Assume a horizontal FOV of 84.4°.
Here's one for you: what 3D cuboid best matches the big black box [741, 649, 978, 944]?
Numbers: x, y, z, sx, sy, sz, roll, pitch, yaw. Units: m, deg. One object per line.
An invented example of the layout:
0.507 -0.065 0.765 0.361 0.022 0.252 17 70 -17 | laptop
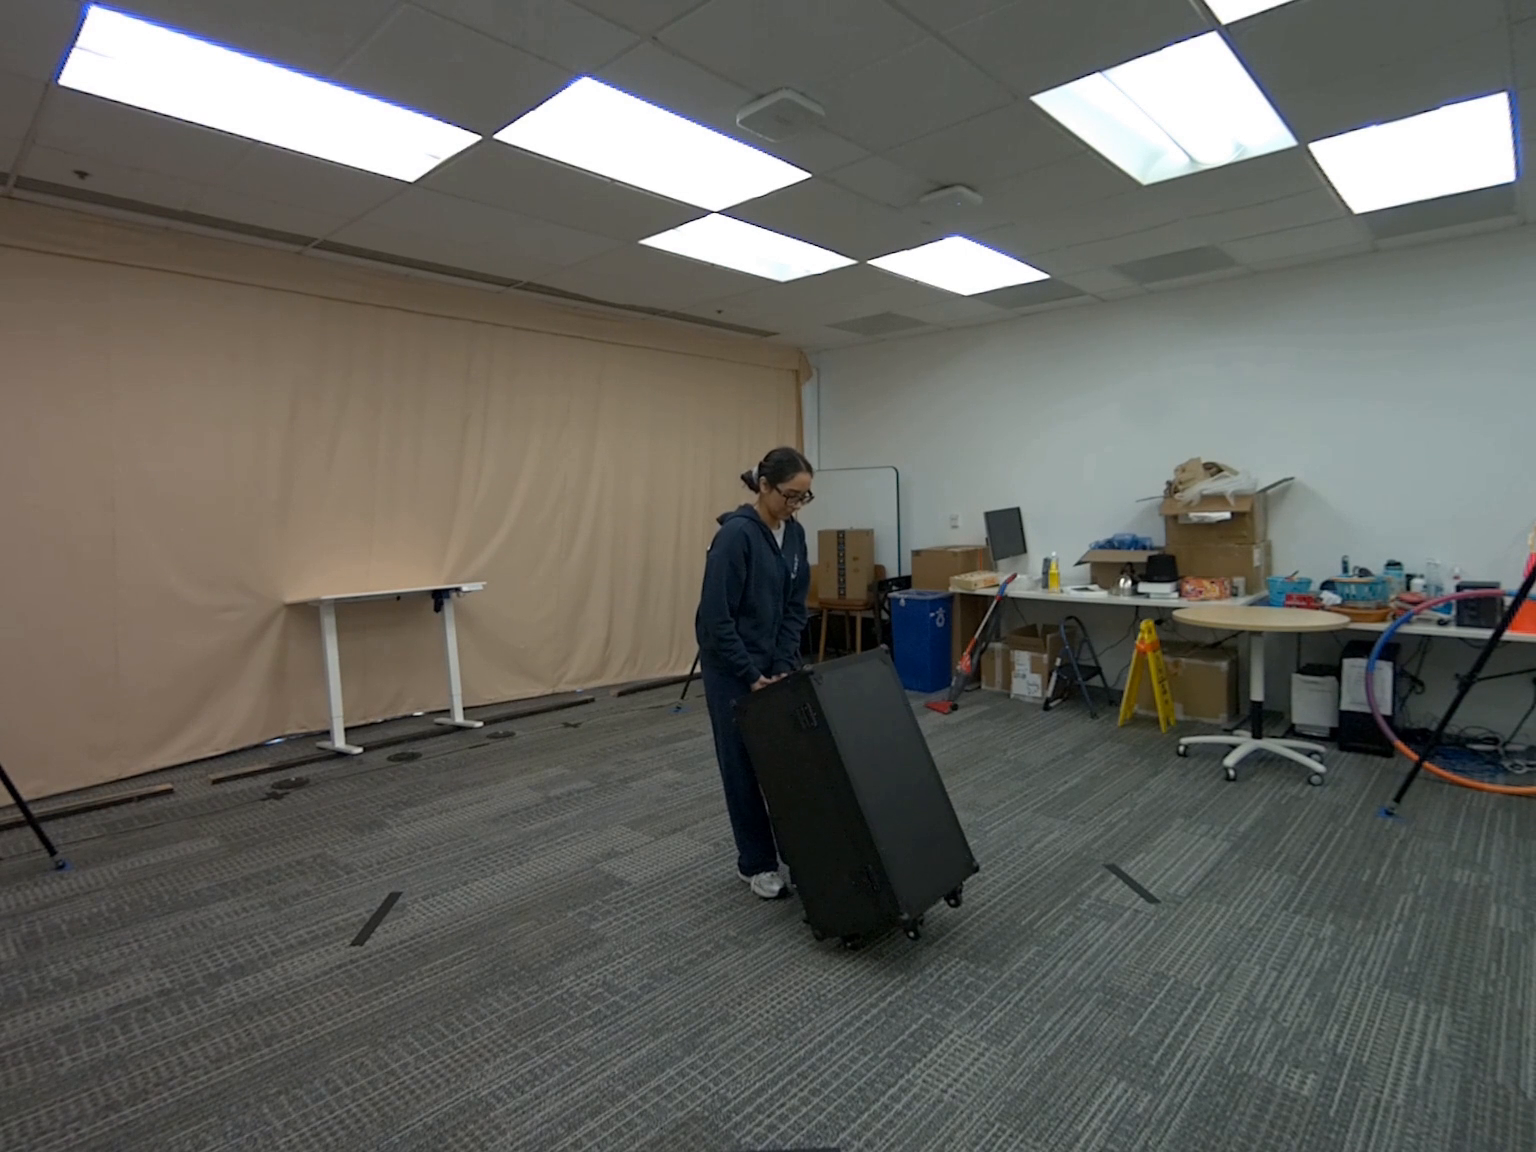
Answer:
0.305 0.726 2.760 0.530 0.872 0.384 -30 -15 39 | big black box
